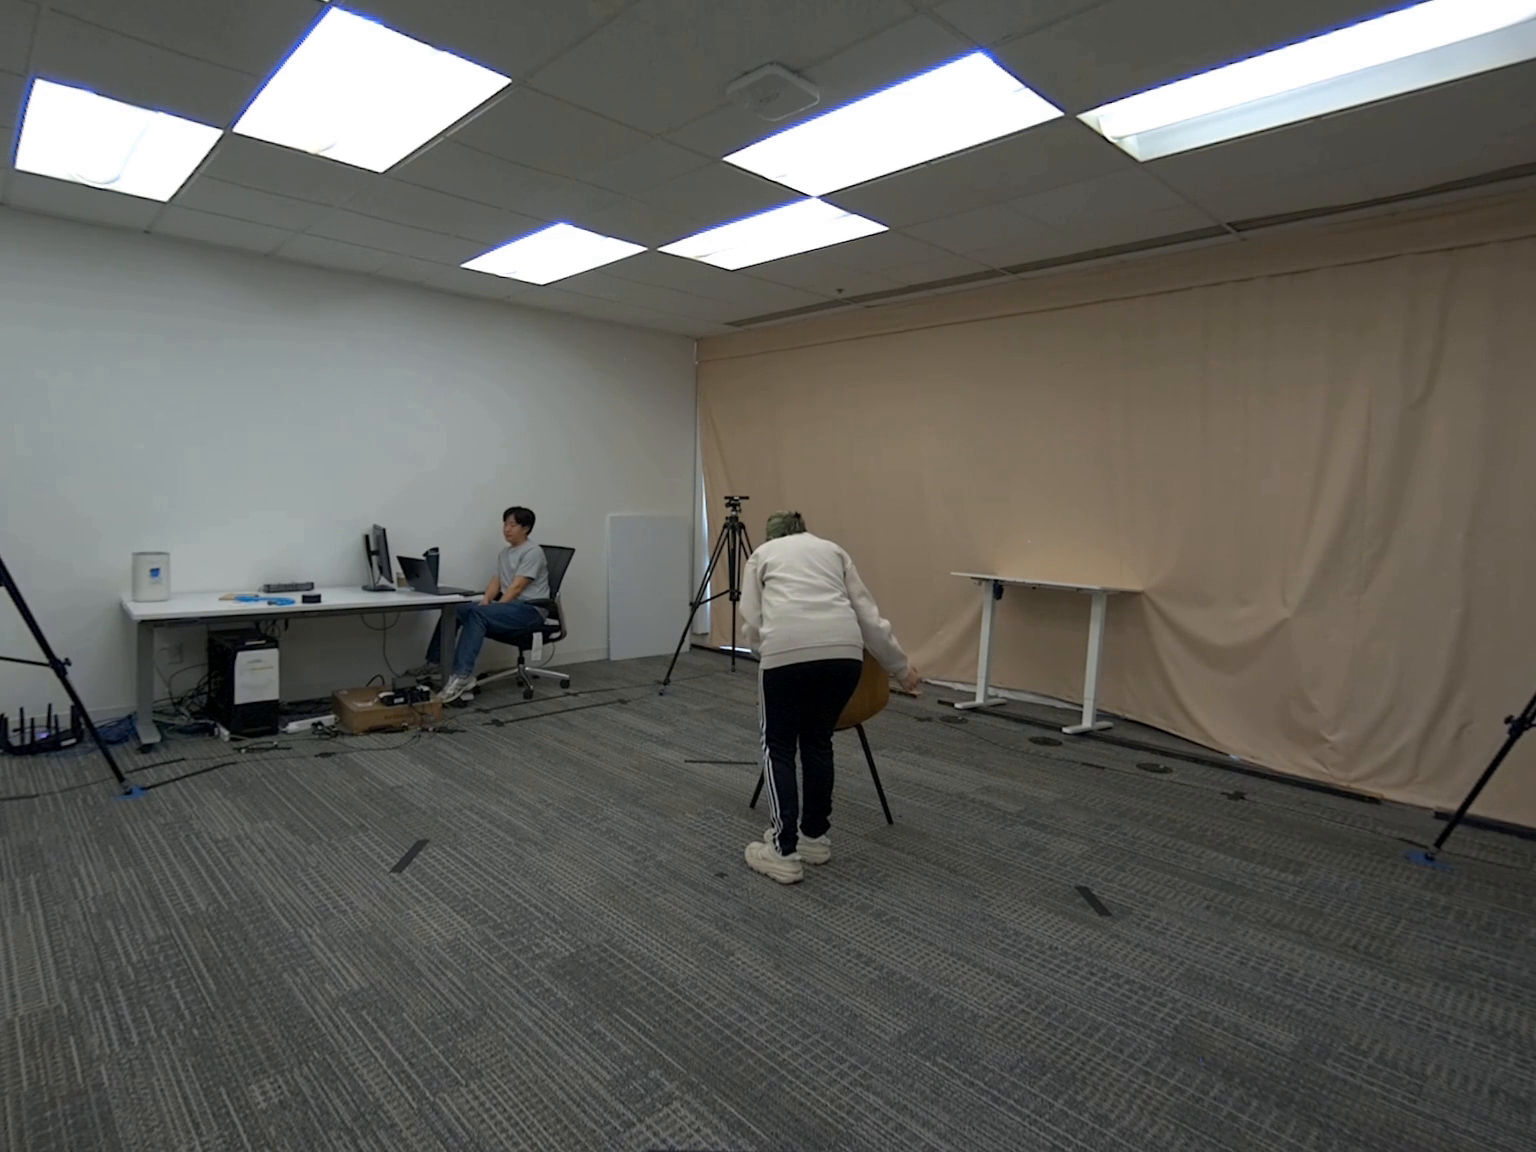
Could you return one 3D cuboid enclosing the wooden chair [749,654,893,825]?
[{"bbox_3d":[0.230,0.636,3.695,0.468,0.873,0.537,0,7,-33],"label":"wooden chair"}]
